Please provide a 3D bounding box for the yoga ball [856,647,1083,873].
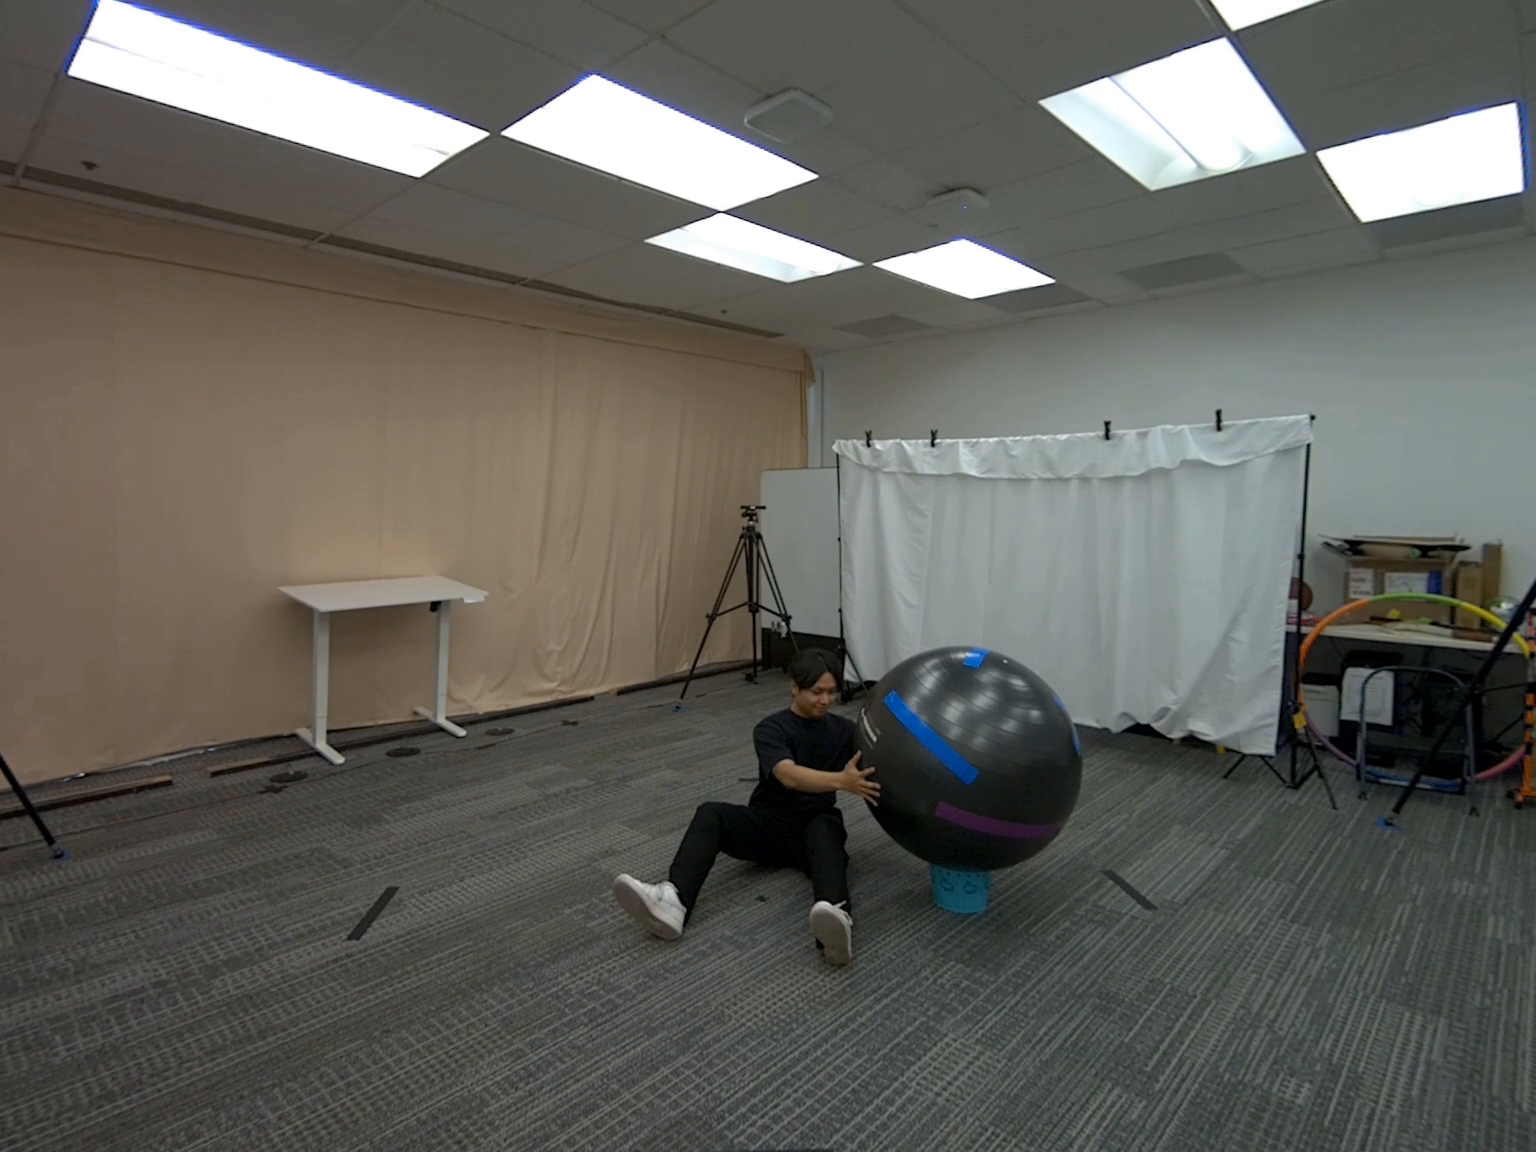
[{"bbox_3d":[0.702,0.649,2.927,0.757,0.756,0.760,0,4,-2],"label":"yoga ball"}]
